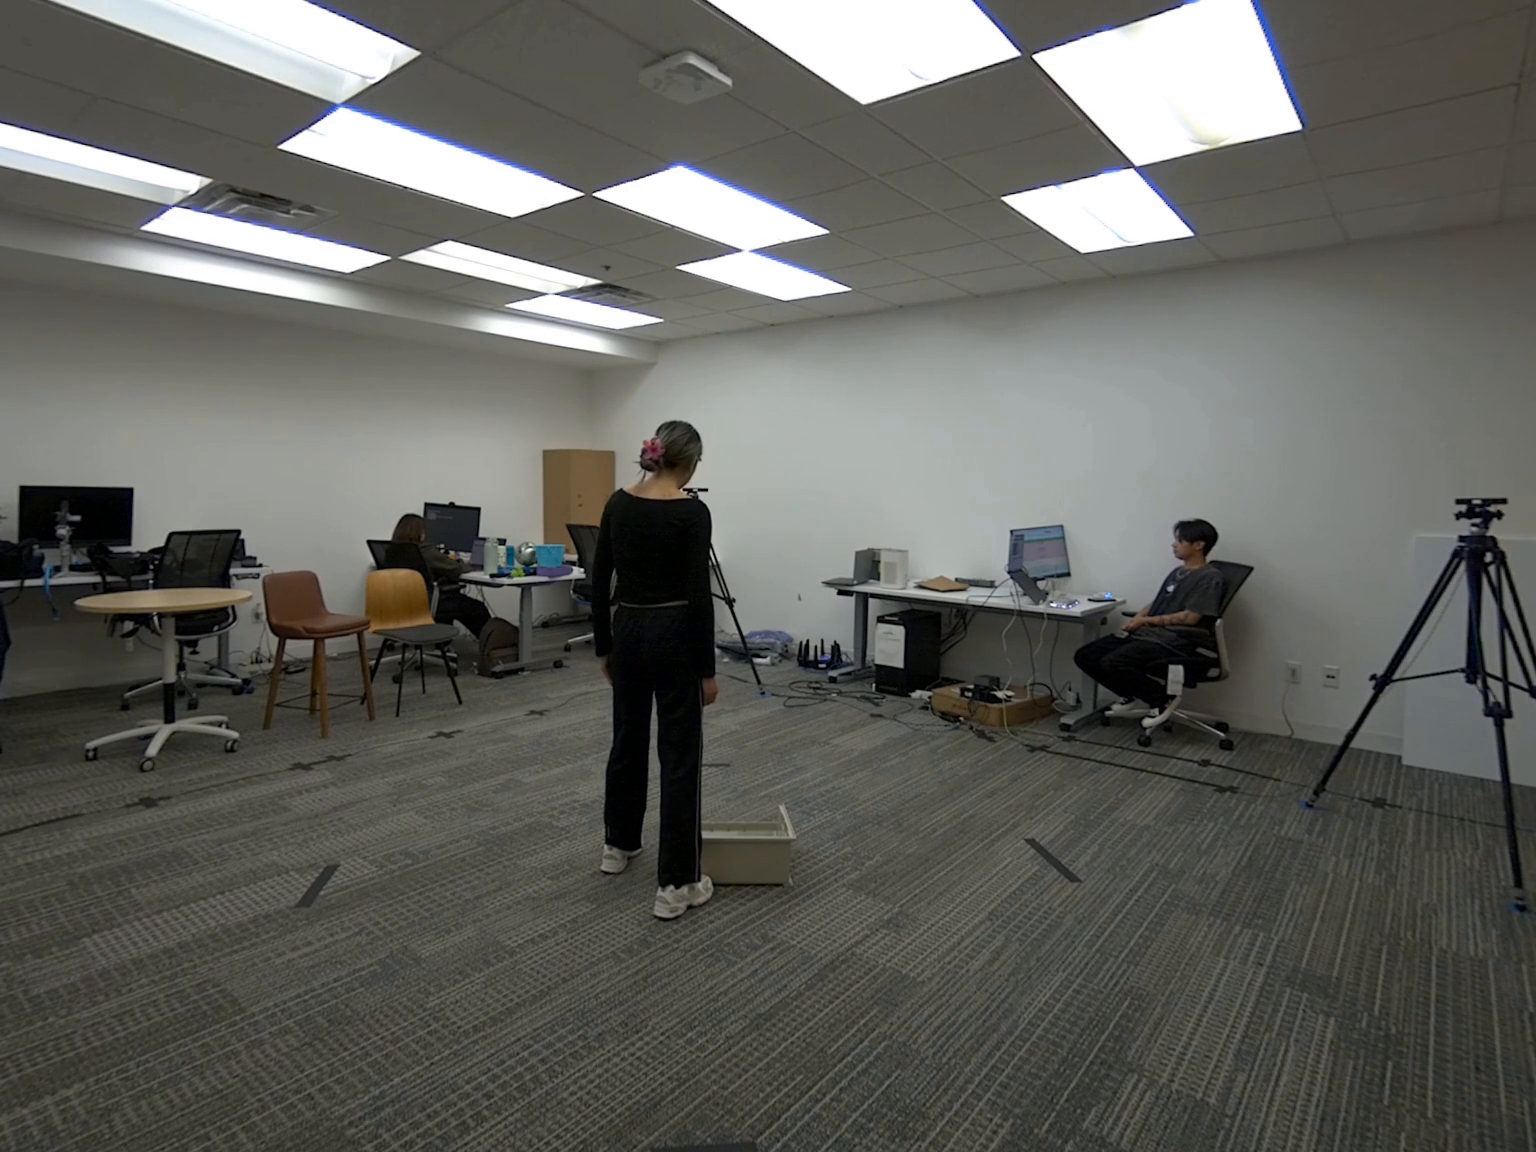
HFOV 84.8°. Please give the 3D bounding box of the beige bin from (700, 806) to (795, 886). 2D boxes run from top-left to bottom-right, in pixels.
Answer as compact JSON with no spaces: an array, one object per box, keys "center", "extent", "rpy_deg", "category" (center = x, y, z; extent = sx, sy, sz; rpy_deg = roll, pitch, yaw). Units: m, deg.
[{"center":[-0.143,0.981,3.148],"extent":[0.420,0.188,0.381],"rpy_deg":[1,6,-6],"category":"beige bin"}]
